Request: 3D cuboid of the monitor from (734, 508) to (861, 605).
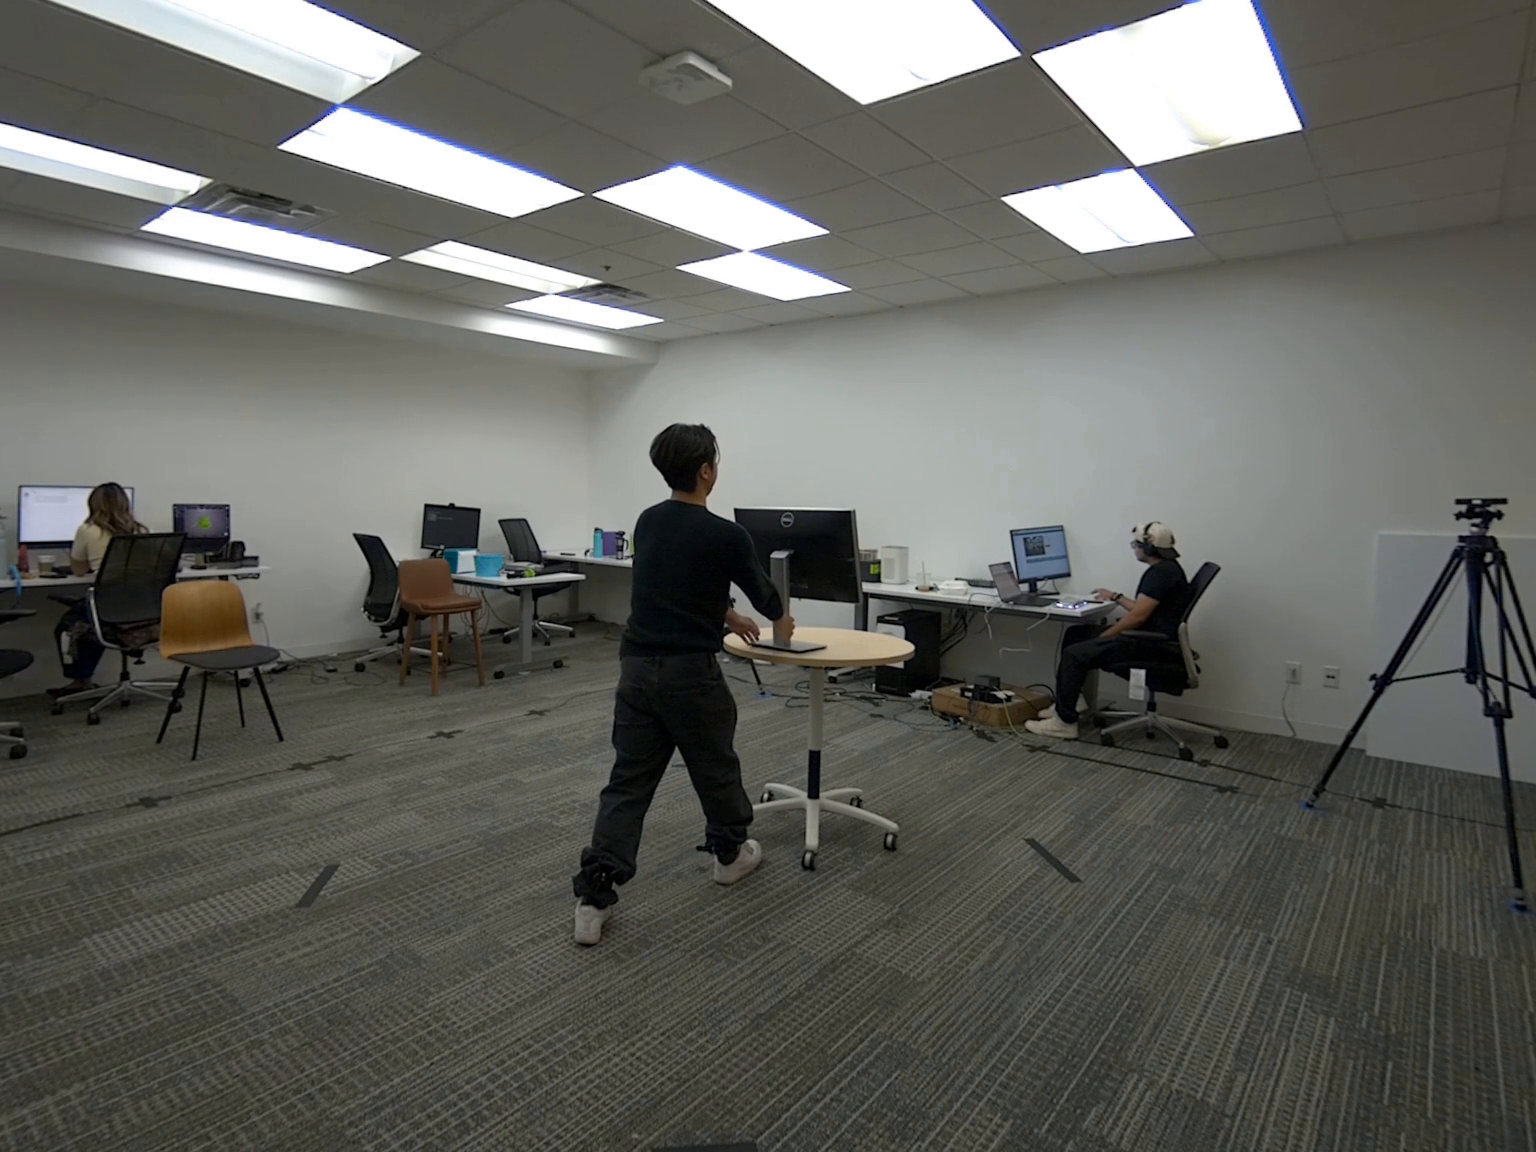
[{"bbox_3d":[0.075,0.004,3.300,0.557,0.521,0.181,4,3,37],"label":"monitor"}]
